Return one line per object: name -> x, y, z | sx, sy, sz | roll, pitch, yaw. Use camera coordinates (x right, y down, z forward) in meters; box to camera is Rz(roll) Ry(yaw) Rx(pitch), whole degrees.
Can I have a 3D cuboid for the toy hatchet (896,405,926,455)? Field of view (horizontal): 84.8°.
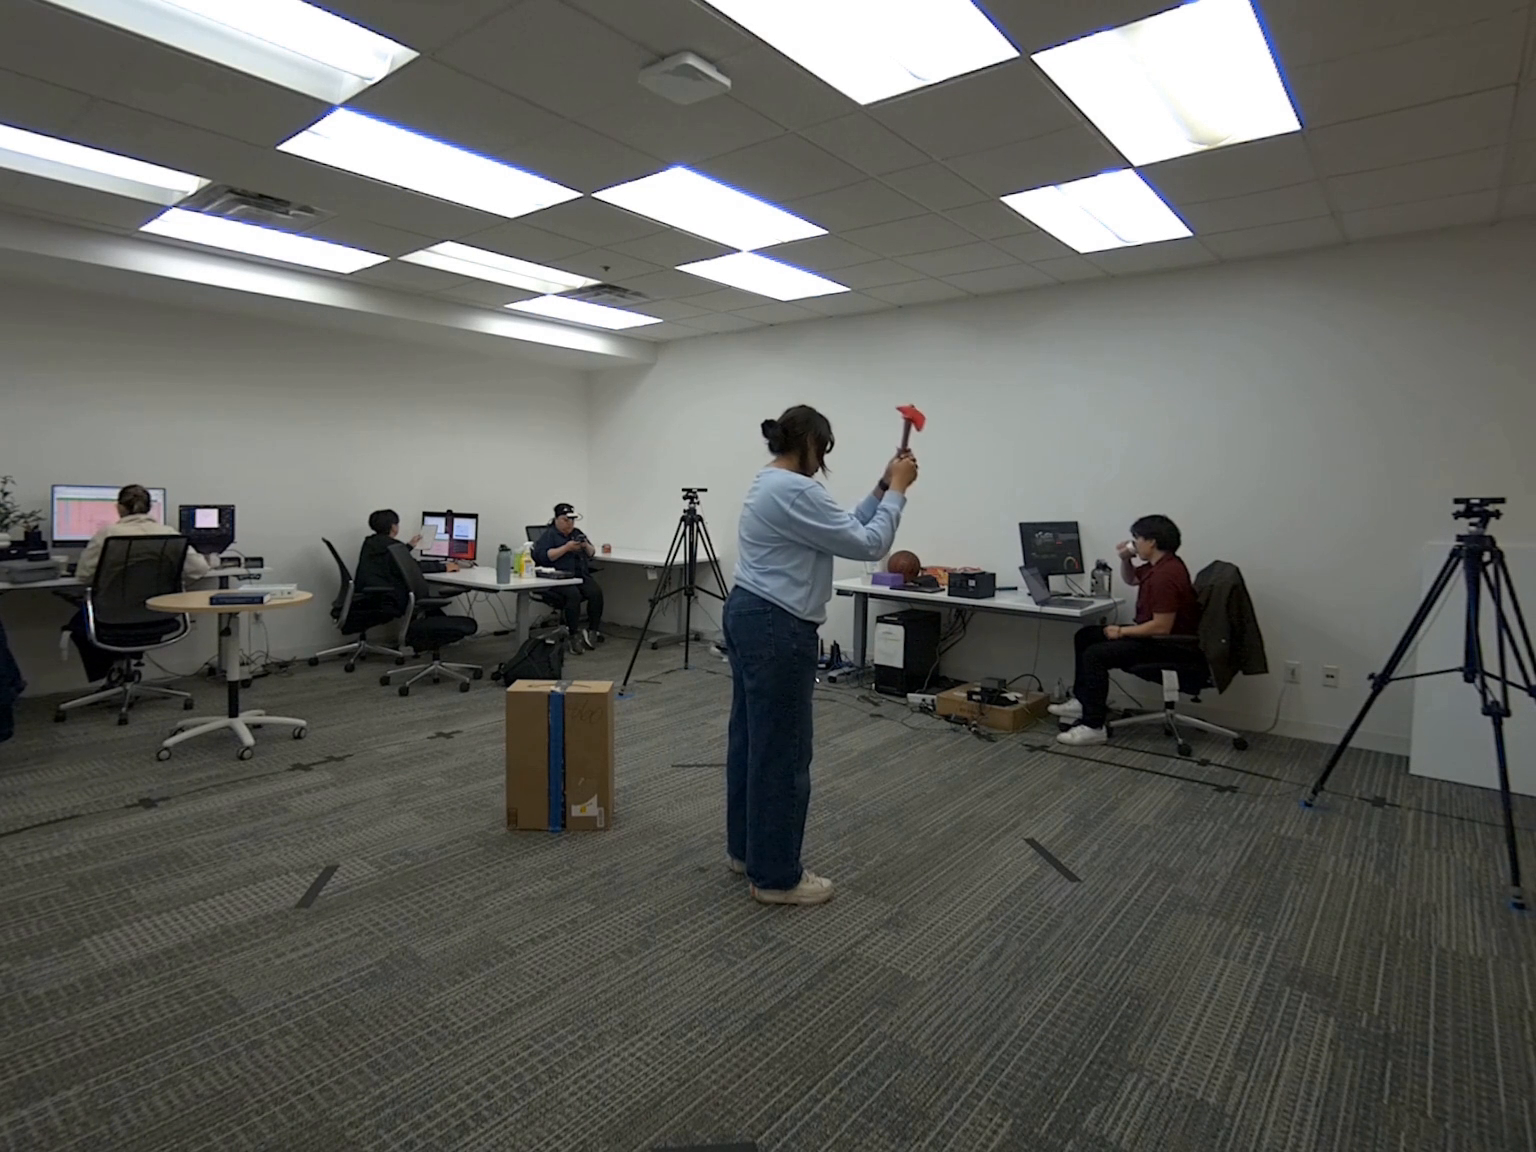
toy hatchet -> 0.485, -0.432, 2.942 | 0.127, 0.271, 0.030 | -4, -3, -31
